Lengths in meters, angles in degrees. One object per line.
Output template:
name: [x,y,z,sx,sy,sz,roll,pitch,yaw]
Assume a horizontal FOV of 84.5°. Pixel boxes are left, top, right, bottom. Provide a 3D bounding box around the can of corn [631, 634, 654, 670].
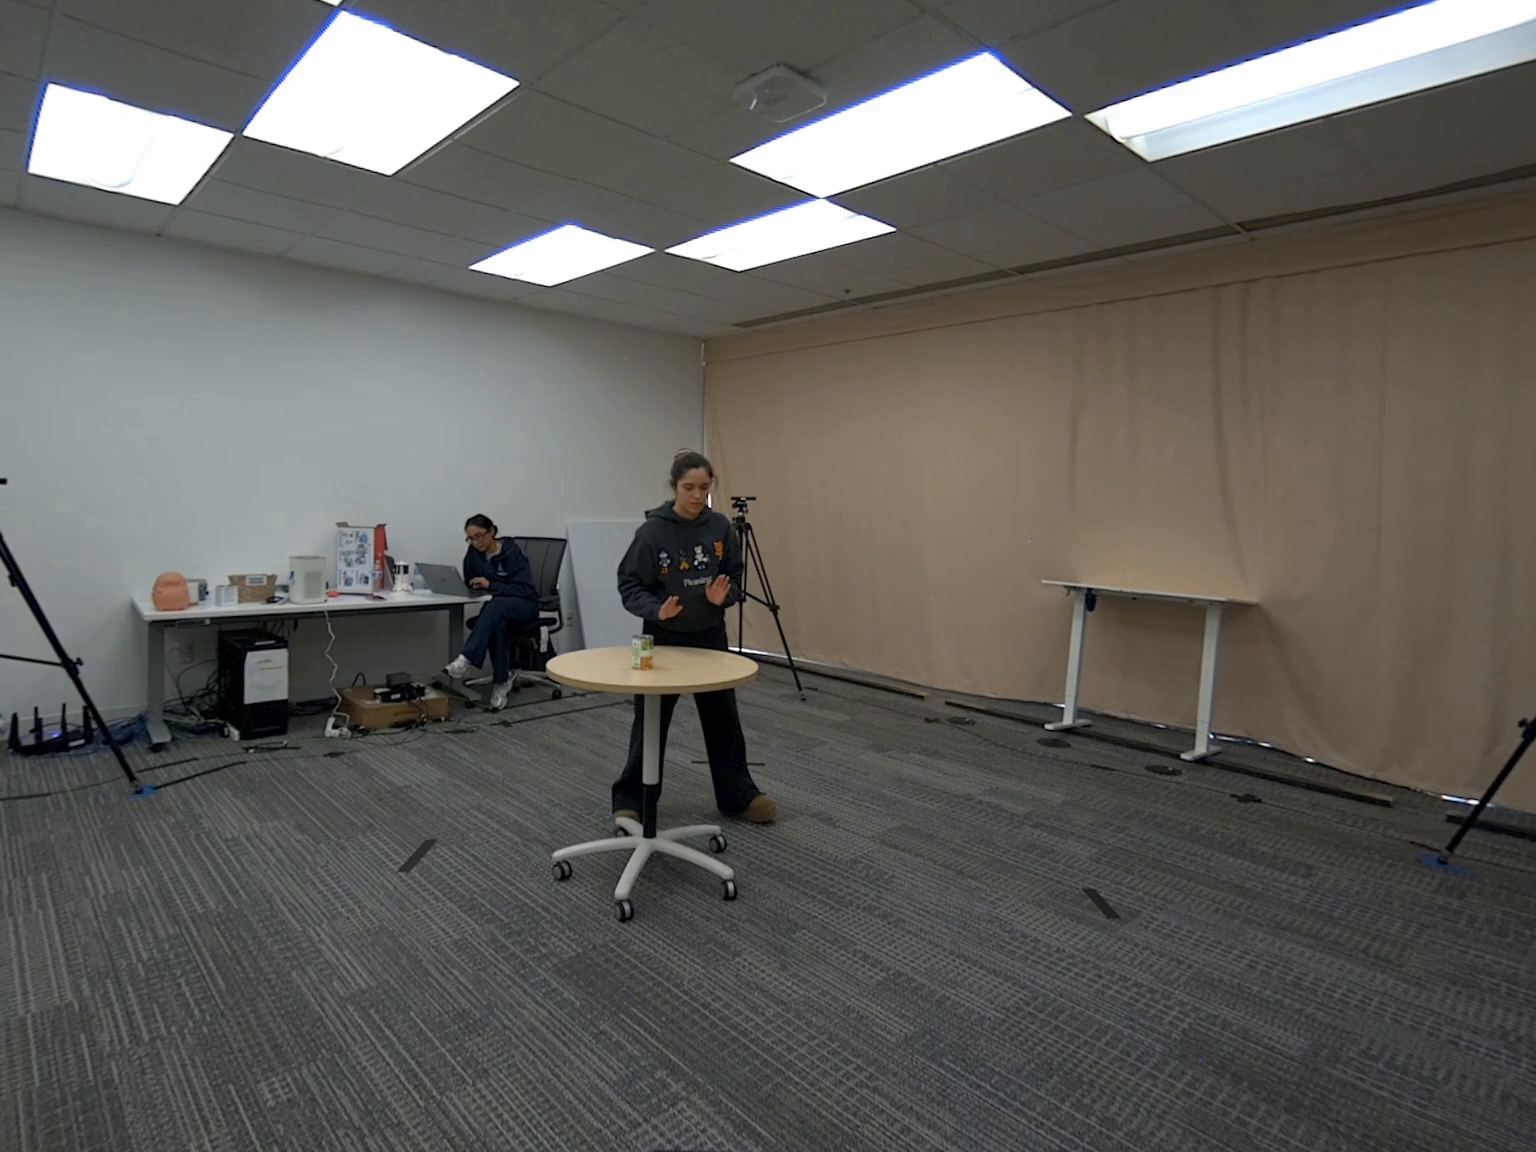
can of corn: [-0.464,0.271,2.984,0.074,0.110,0.074,-1,5,-1]
